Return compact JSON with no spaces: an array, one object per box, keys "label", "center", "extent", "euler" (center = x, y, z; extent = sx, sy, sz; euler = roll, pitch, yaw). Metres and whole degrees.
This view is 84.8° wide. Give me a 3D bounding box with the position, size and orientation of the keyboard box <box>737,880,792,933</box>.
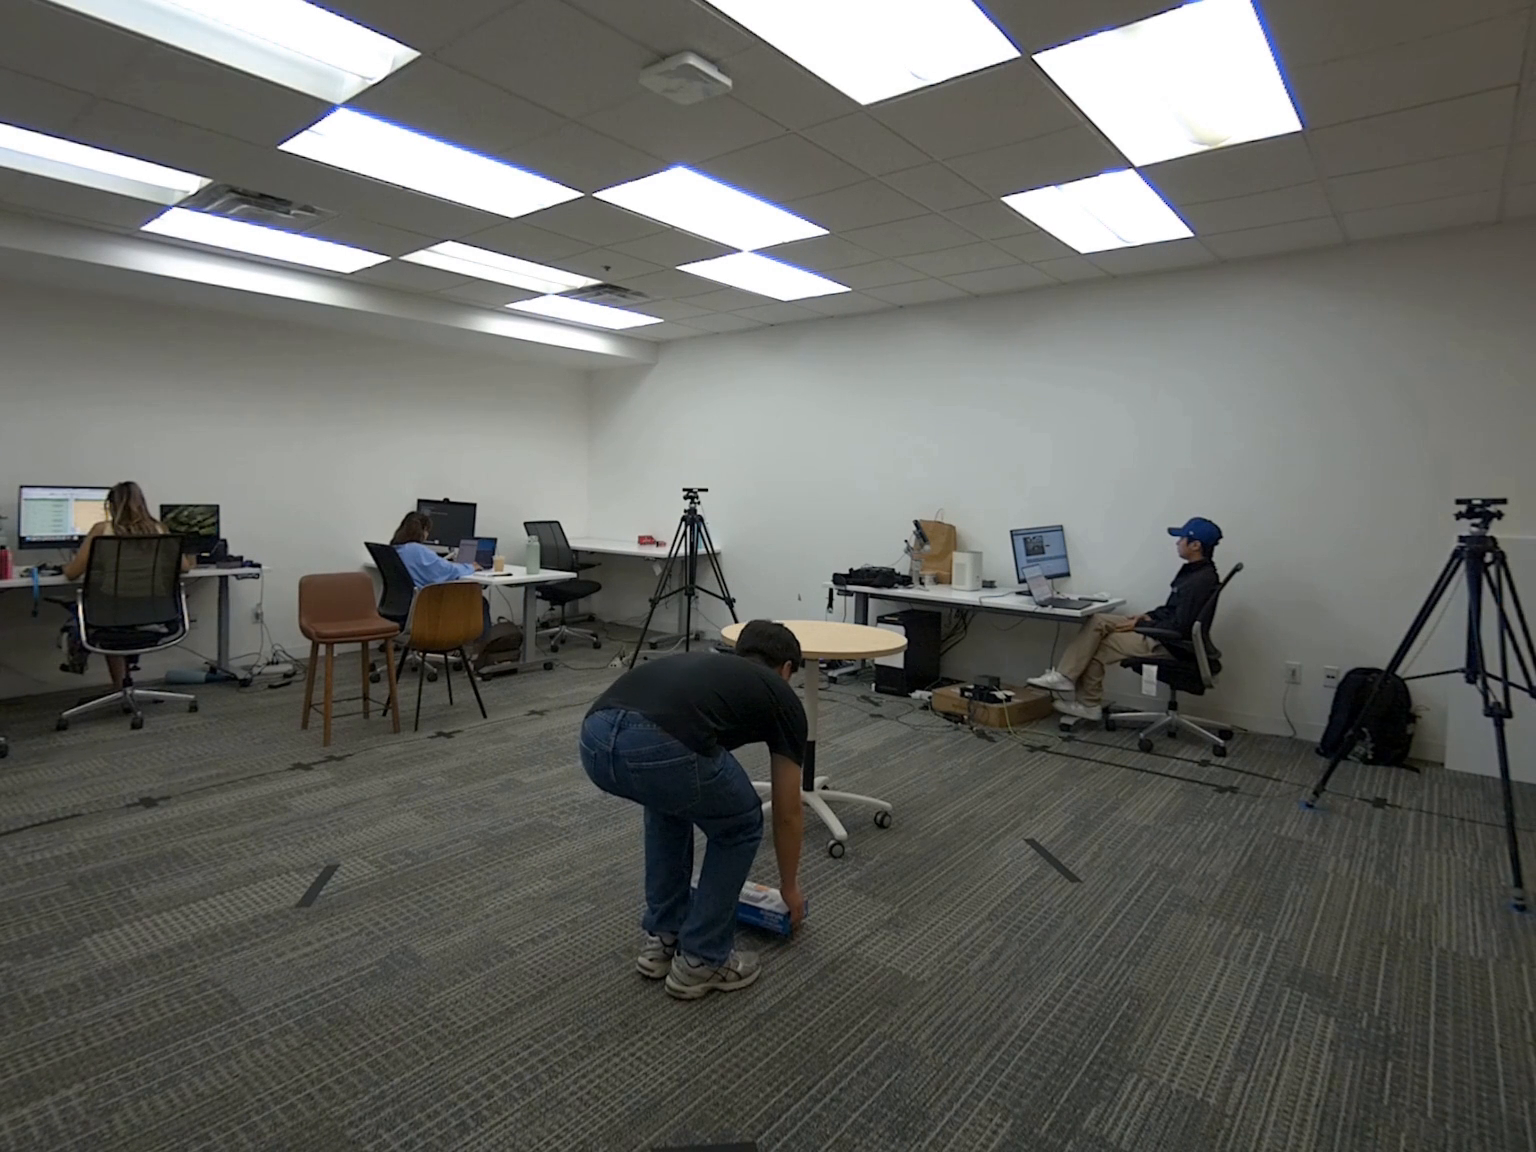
[{"label":"keyboard box","center":[-0.106,1.031,2.772],"extent":[0.450,0.059,0.170],"euler":[4,0,31]}]
